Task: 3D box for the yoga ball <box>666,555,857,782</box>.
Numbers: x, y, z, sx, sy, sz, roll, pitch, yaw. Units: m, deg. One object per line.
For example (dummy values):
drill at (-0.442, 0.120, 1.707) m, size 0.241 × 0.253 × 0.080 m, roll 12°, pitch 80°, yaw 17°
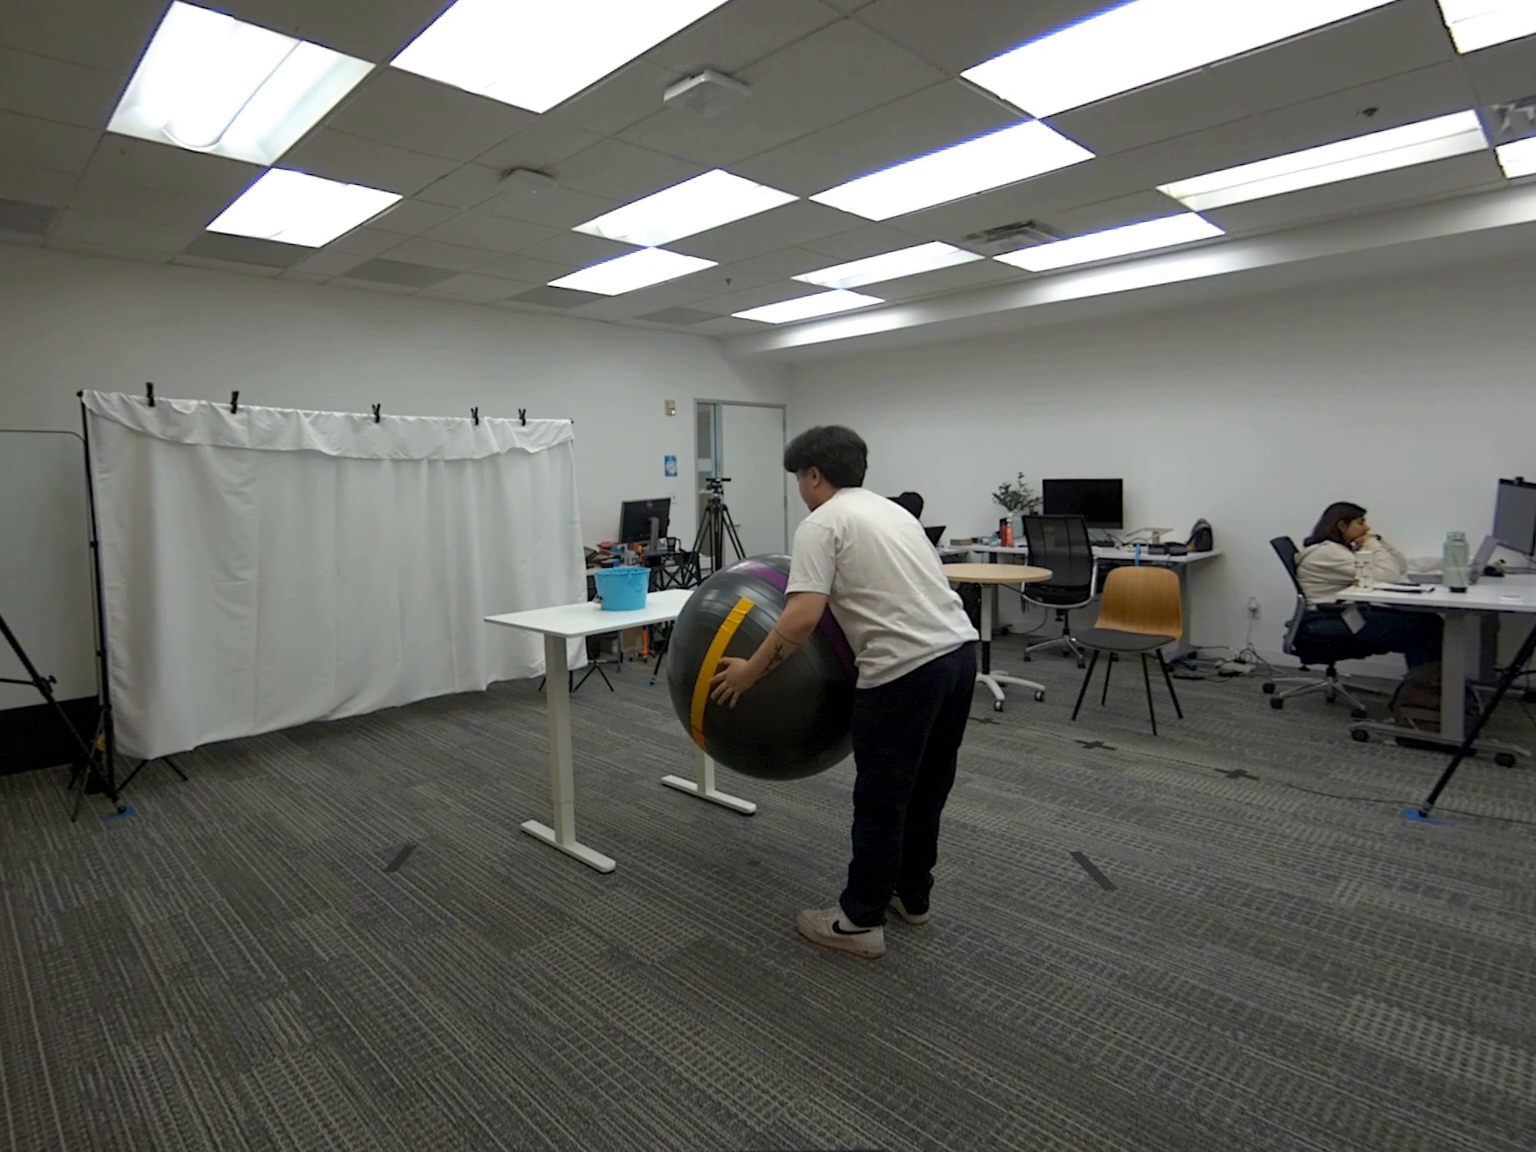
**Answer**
yoga ball at (0.033, 0.314, 2.928) m, size 0.757 × 0.755 × 0.762 m, roll -1°, pitch 5°, yaw -2°
